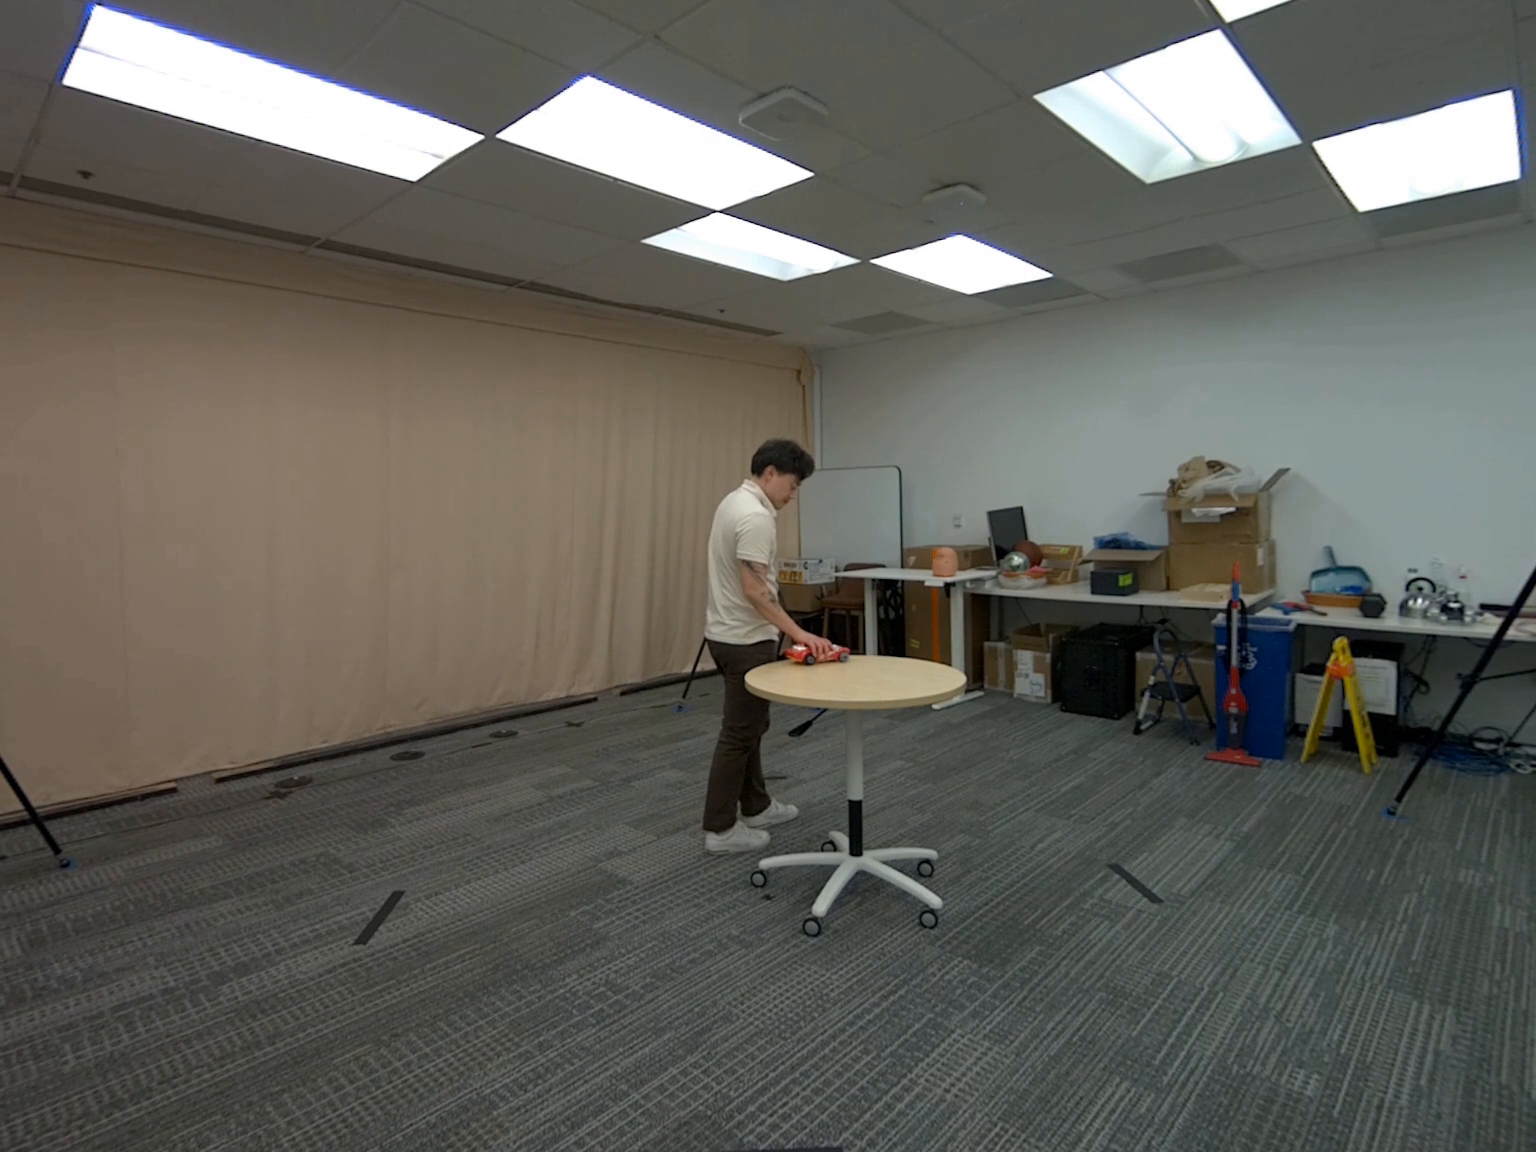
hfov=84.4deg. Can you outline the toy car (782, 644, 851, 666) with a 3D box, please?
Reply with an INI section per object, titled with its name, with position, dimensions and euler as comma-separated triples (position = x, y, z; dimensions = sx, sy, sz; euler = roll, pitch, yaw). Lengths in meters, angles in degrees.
[toy car]
position = 0.182, 0.299, 3.223
dimensions = 0.249, 0.083, 0.133
euler = 8, 1, -20
